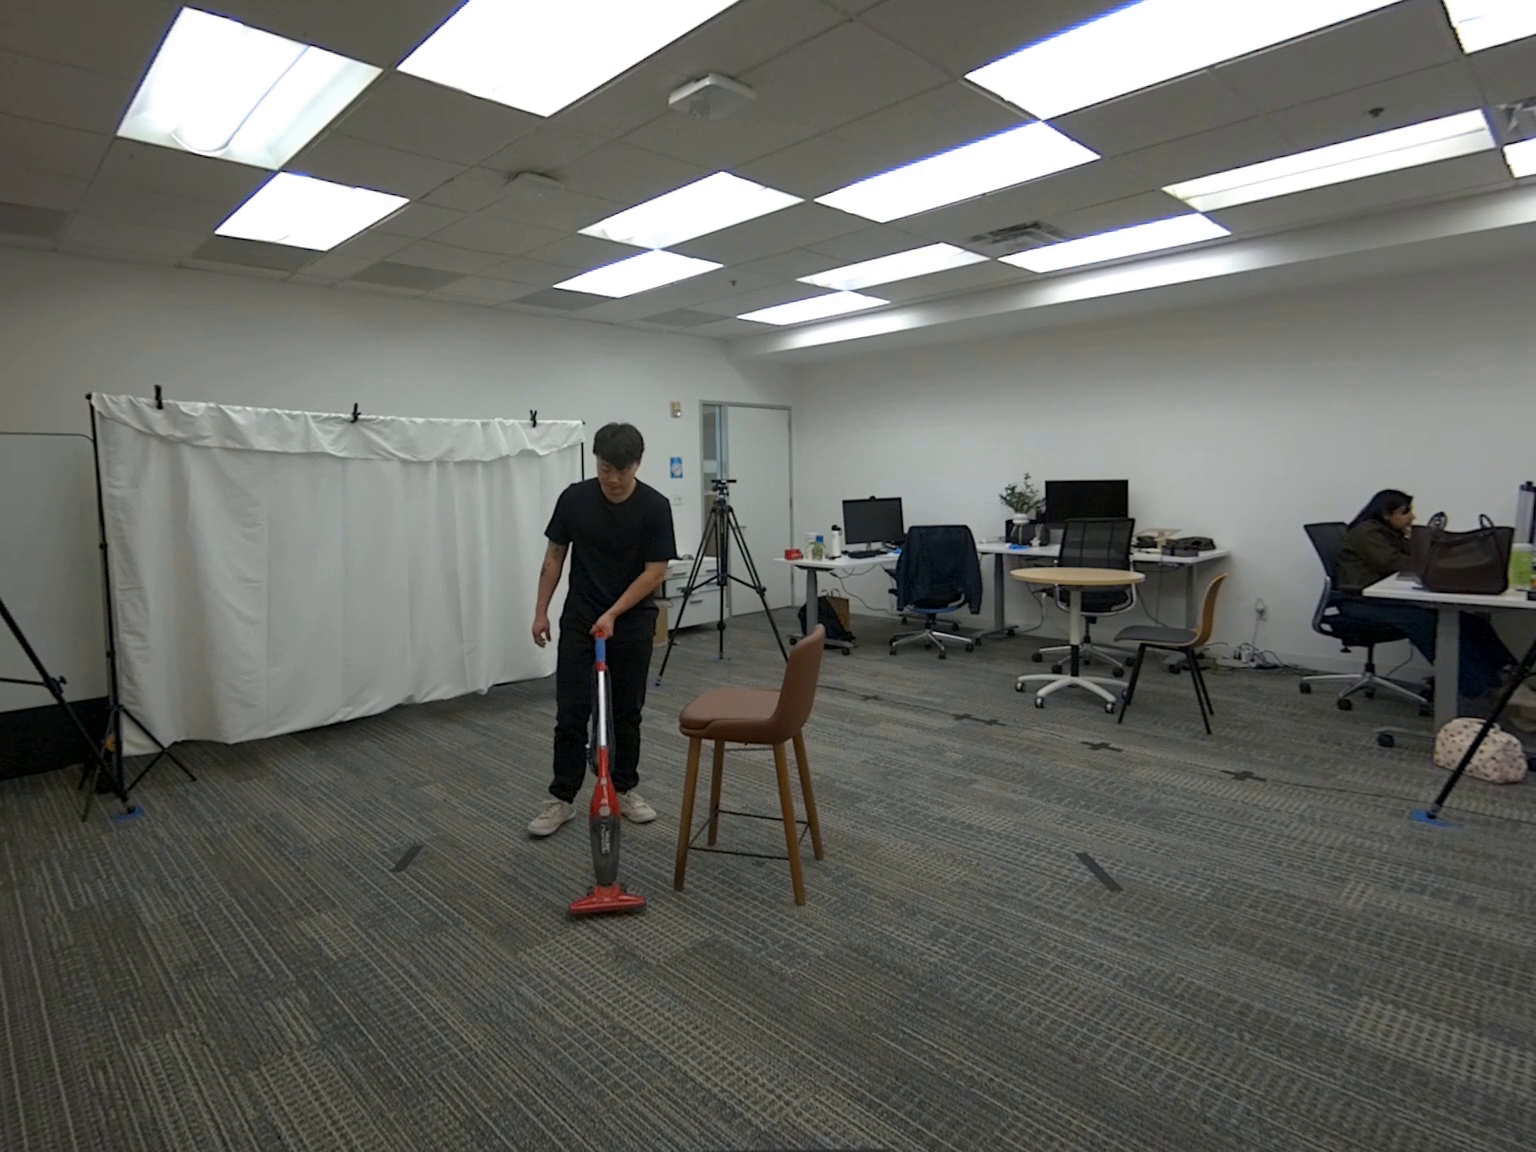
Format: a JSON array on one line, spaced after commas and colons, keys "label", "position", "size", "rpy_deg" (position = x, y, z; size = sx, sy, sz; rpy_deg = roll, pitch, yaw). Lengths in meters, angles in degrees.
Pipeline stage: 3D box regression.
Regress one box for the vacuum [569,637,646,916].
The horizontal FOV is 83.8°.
[{"label": "vacuum", "position": [-0.594, 0.657, 3.108], "size": [0.249, 1.080, 0.141], "rpy_deg": [2, -38, -12]}]
